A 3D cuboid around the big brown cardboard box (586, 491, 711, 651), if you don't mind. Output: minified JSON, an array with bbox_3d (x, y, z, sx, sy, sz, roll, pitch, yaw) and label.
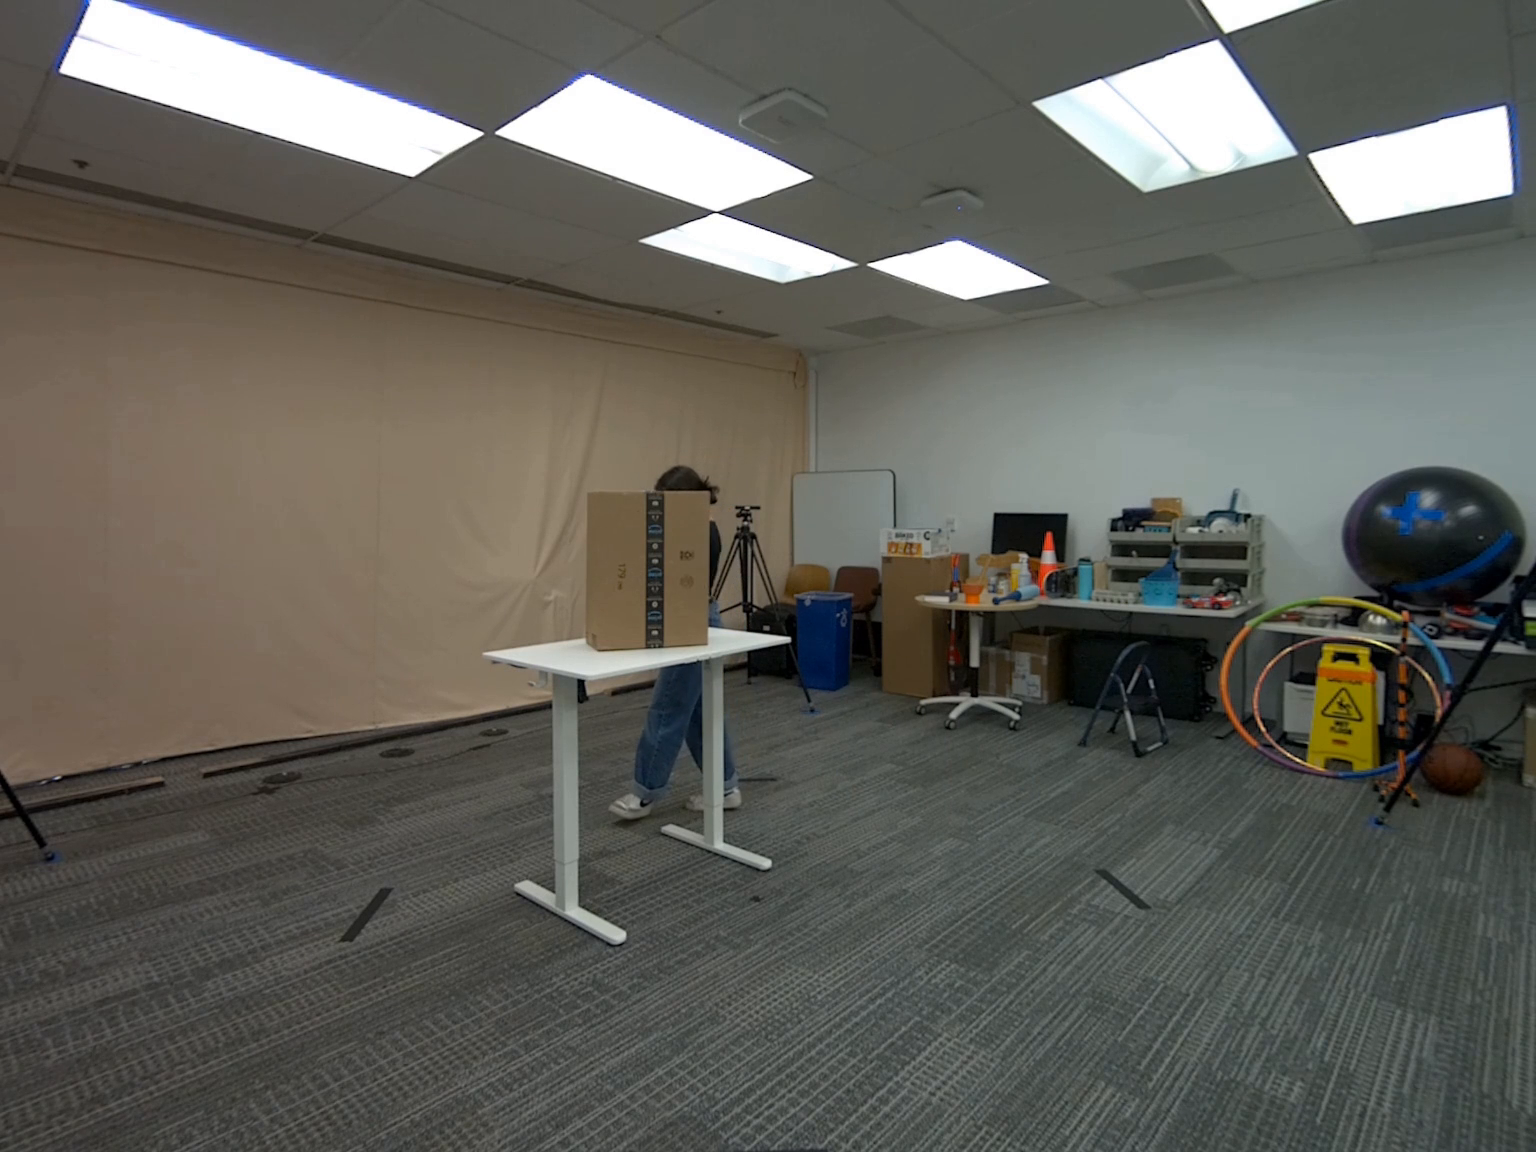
[{"bbox_3d":[-0.443,-0.024,3.118,0.409,0.588,0.238,0,3,-20],"label":"big brown cardboard box"}]
